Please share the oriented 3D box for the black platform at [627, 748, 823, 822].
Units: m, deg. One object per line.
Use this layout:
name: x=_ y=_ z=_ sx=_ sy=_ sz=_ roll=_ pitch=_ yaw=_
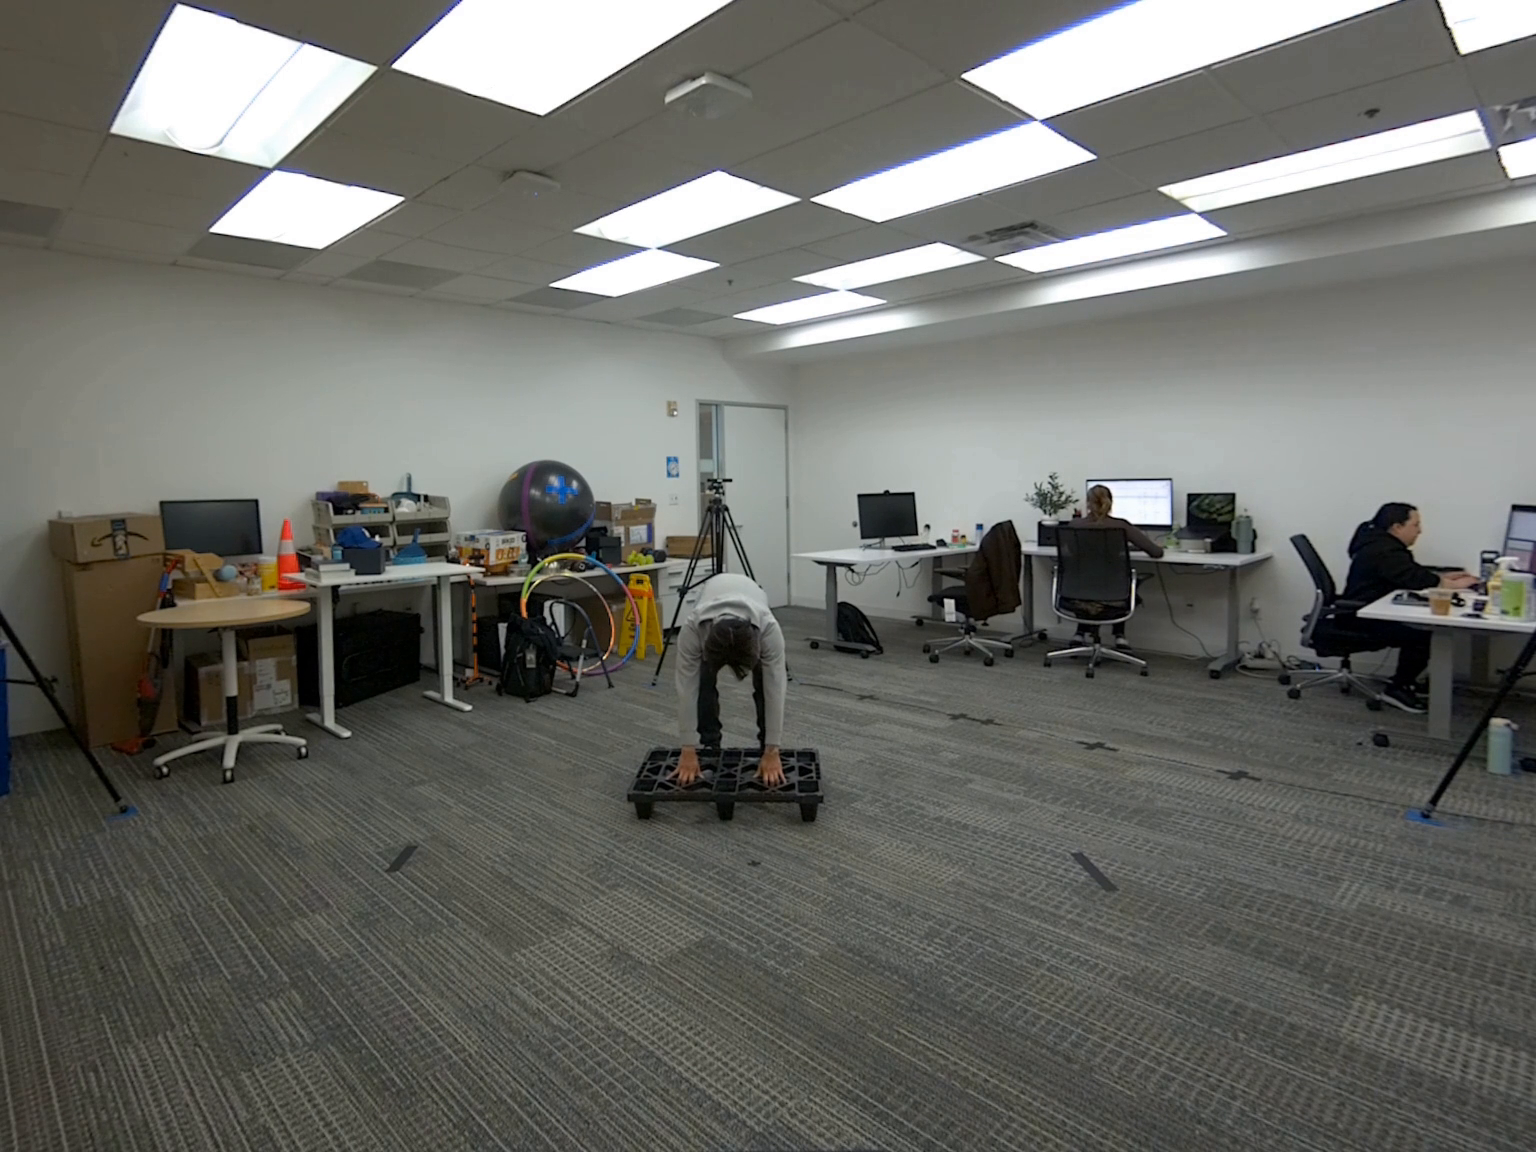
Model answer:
black platform: x=-0.170 y=0.907 z=3.735 sx=0.809 sy=0.143 sz=0.605 roll=-1 pitch=5 yaw=4
